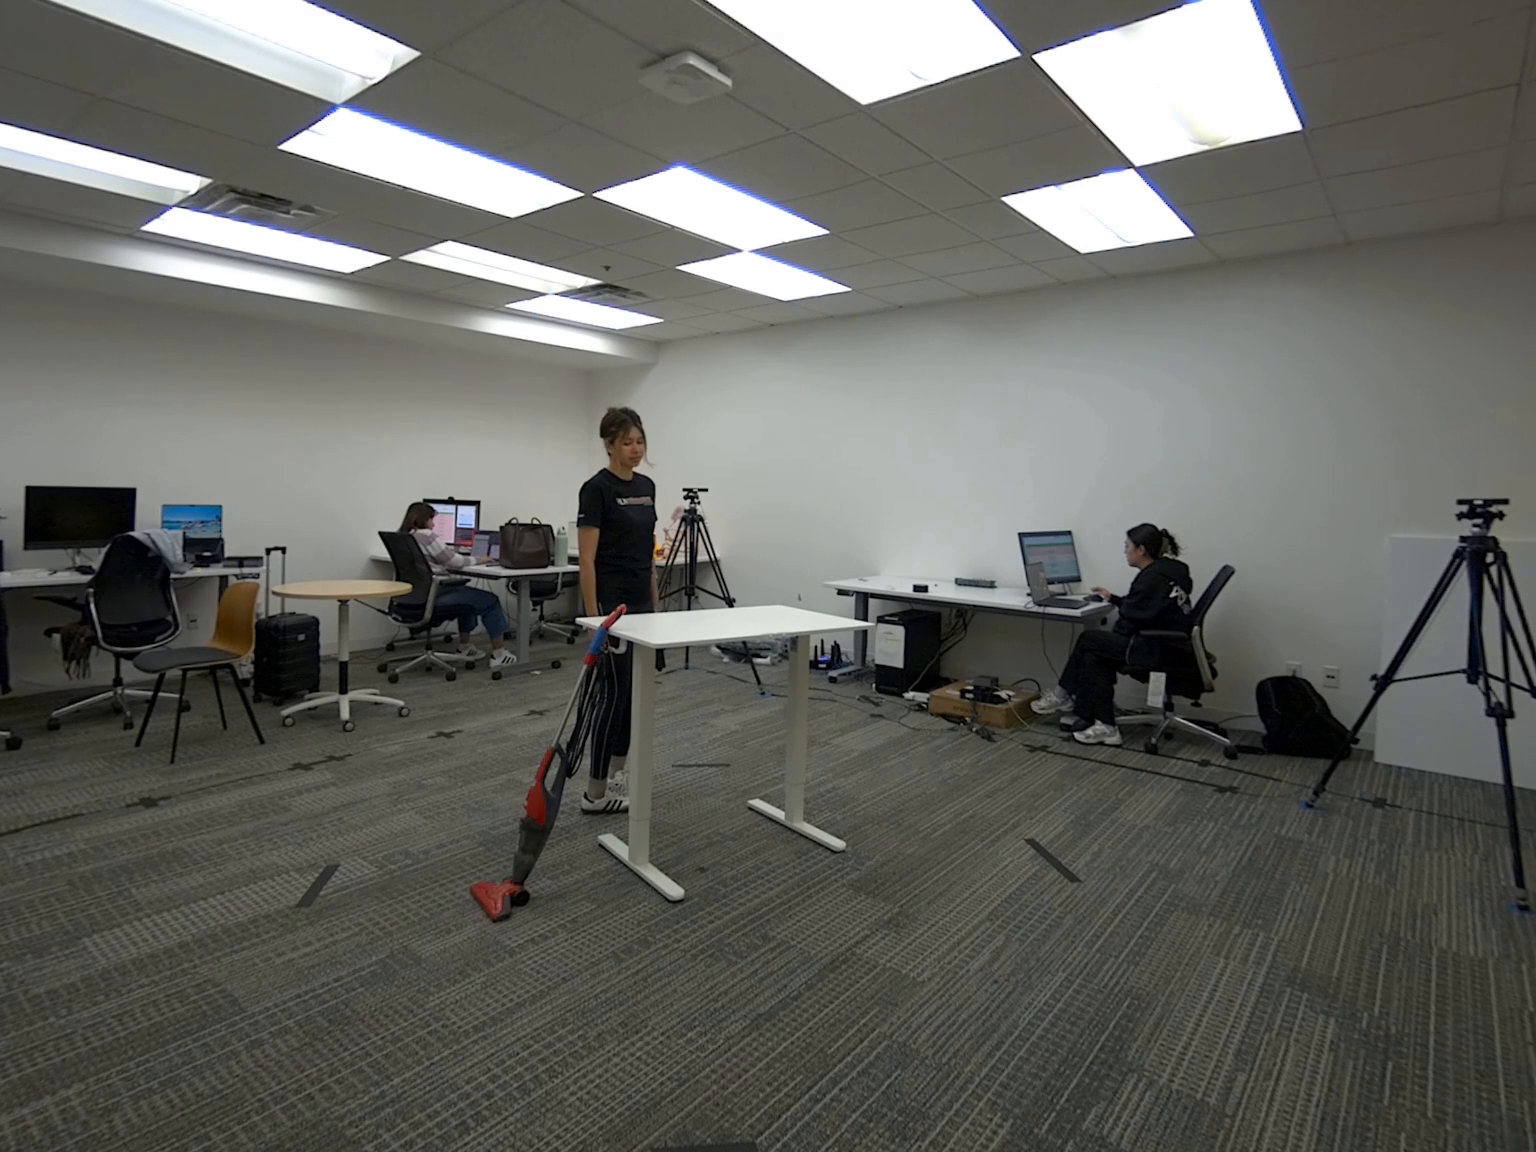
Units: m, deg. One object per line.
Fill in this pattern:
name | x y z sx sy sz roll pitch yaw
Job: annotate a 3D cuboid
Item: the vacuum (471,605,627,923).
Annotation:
vacuum | -0.719 0.599 2.933 0.262 1.055 0.138 10 -14 42
